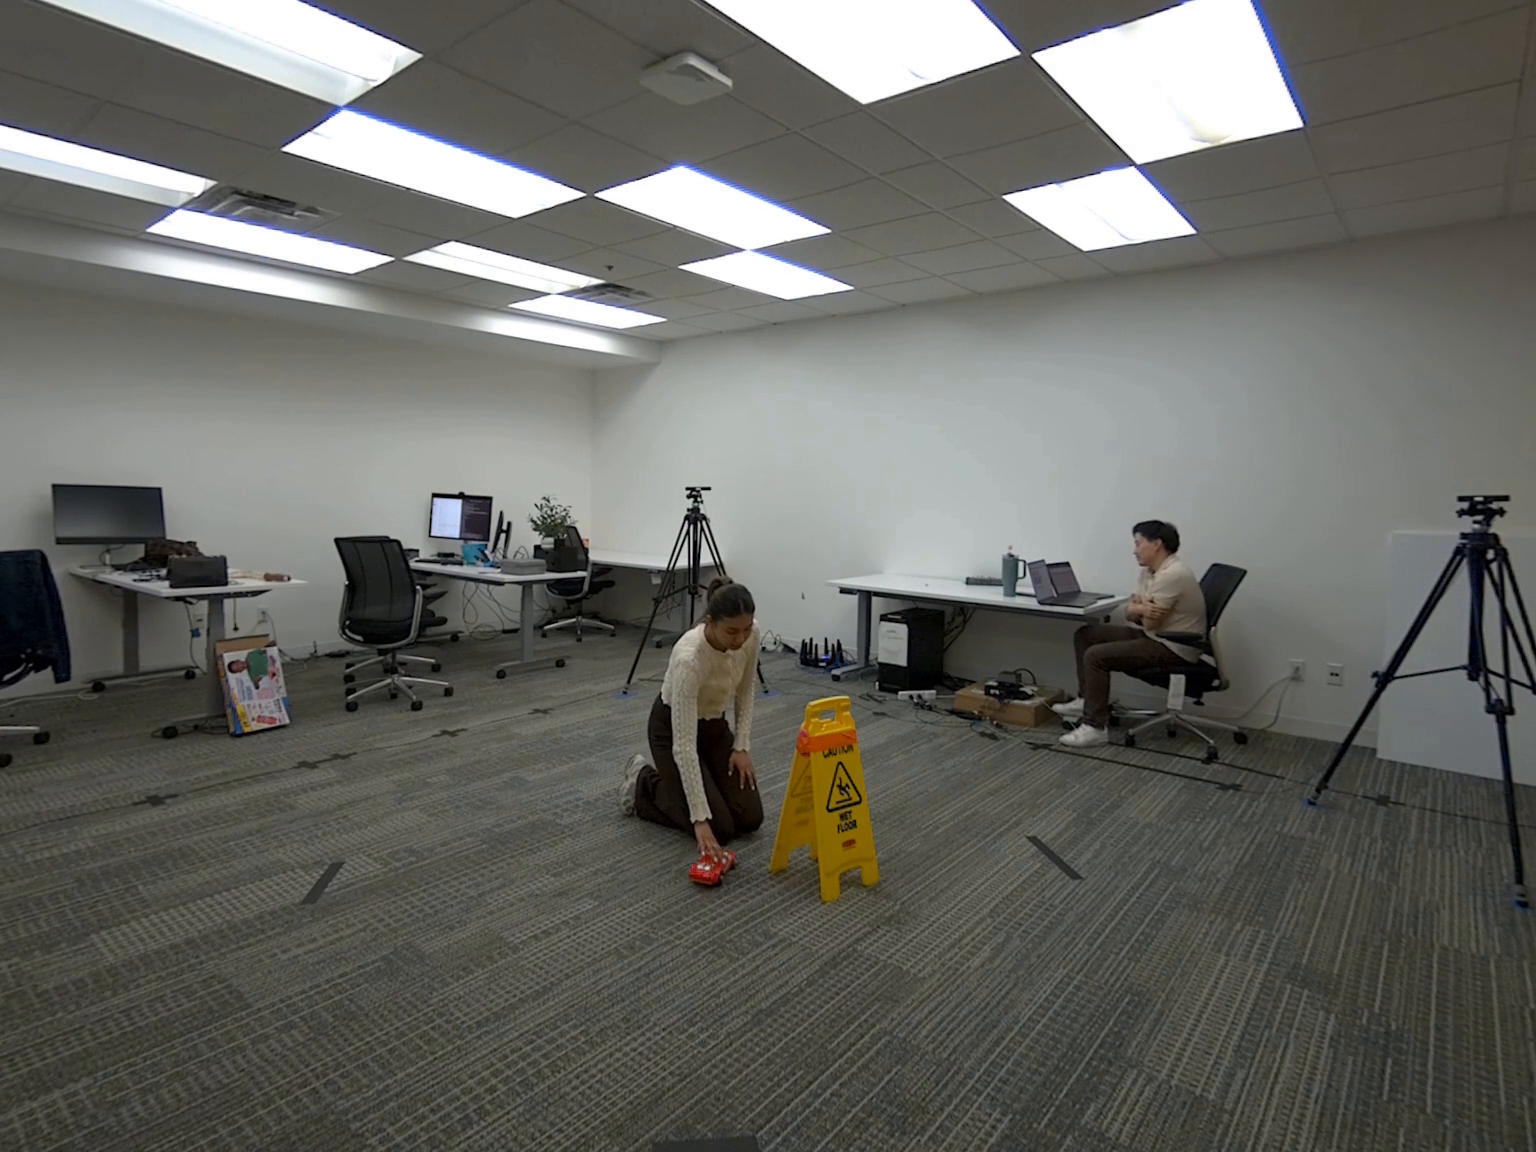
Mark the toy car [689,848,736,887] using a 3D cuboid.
[{"bbox_3d":[-0.211,1.040,3.047,0.133,0.083,0.248,5,-5,19],"label":"toy car"}]
